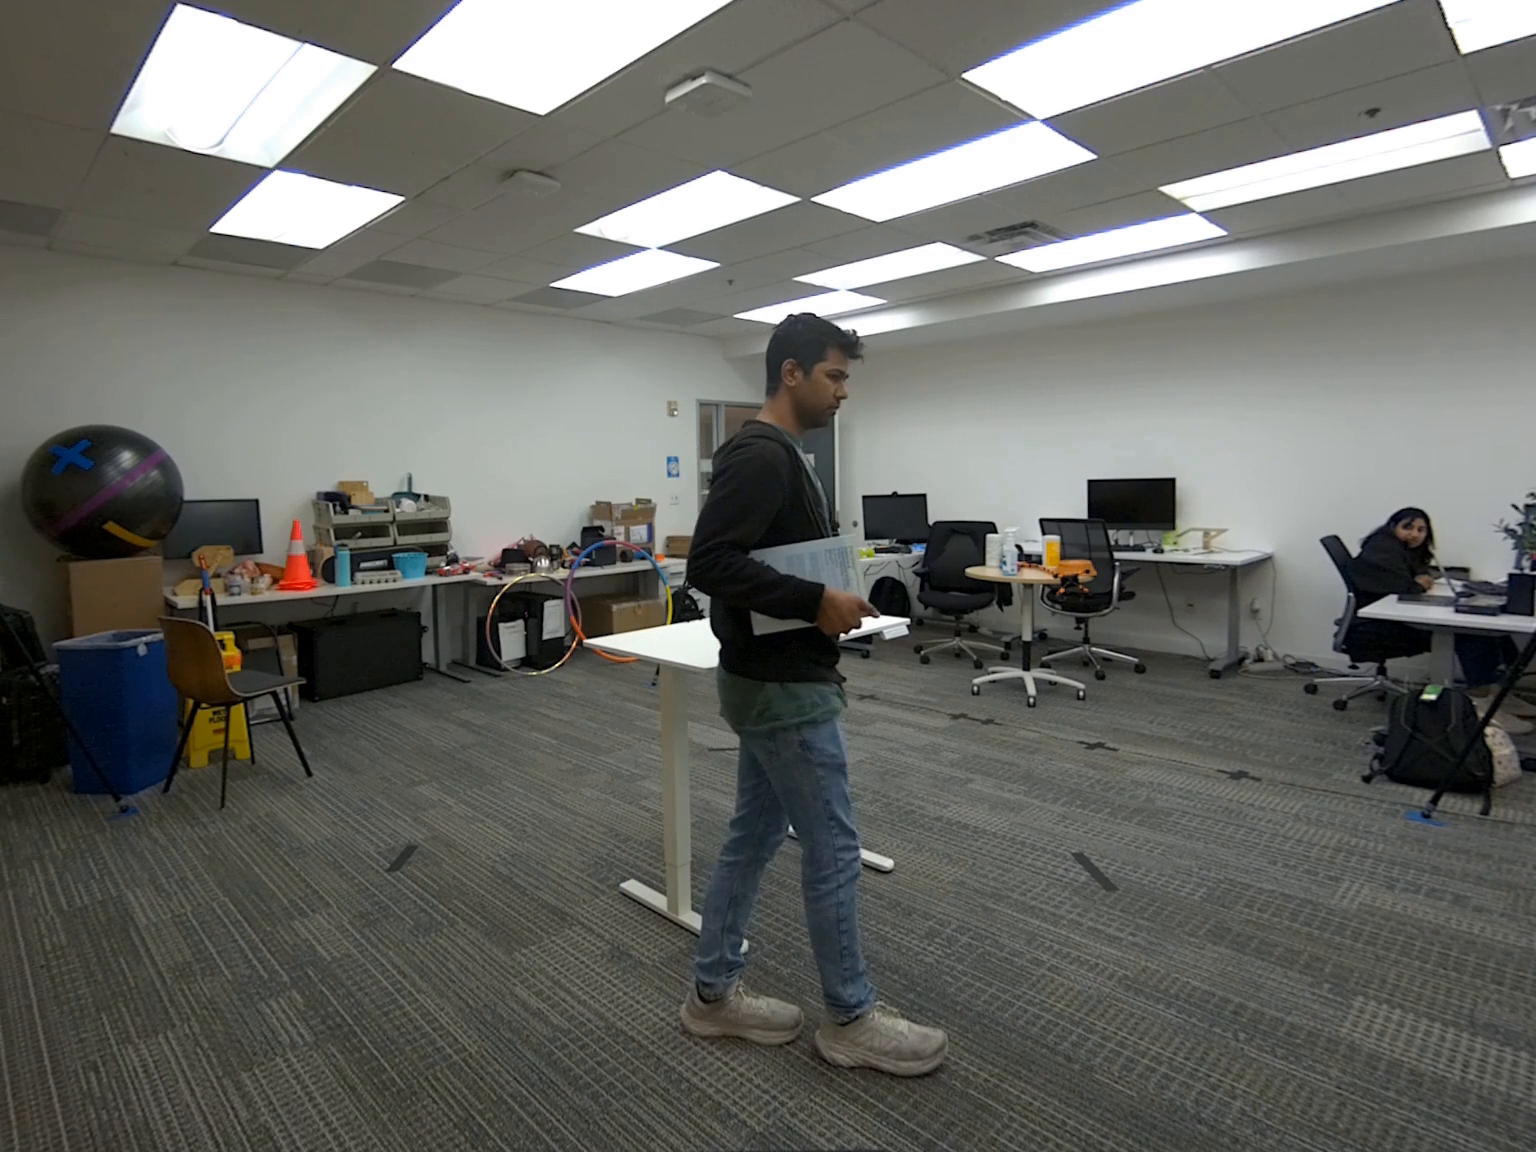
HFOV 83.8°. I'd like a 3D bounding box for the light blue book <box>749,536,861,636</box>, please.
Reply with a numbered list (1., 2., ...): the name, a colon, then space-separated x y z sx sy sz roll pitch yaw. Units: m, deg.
1. light blue book: 0.079 0.022 1.939 0.261 0.193 0.058 -12 -7 1
